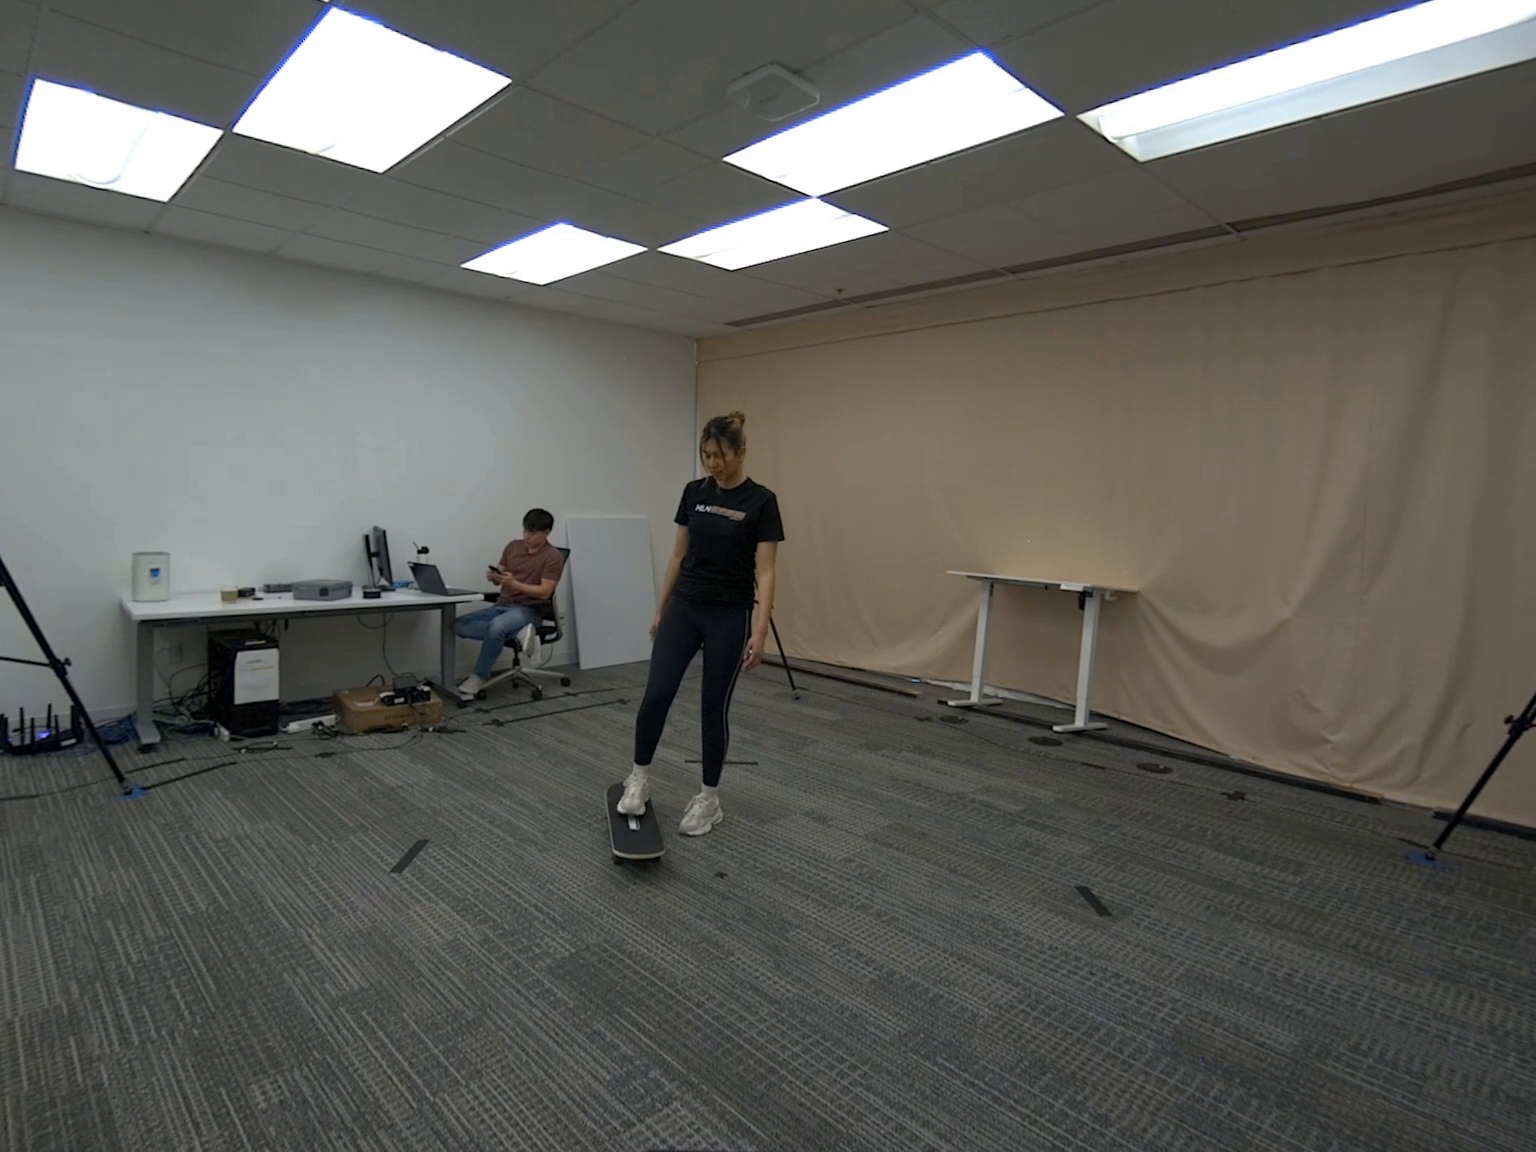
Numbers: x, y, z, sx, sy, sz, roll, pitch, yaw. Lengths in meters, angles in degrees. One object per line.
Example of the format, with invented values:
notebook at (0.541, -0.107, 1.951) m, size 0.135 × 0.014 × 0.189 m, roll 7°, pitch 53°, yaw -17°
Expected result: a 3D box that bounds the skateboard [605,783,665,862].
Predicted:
skateboard at (-0.554, 1.013, 3.385) m, size 0.191 × 0.110 × 0.796 m, roll 1°, pitch 6°, yaw -13°
